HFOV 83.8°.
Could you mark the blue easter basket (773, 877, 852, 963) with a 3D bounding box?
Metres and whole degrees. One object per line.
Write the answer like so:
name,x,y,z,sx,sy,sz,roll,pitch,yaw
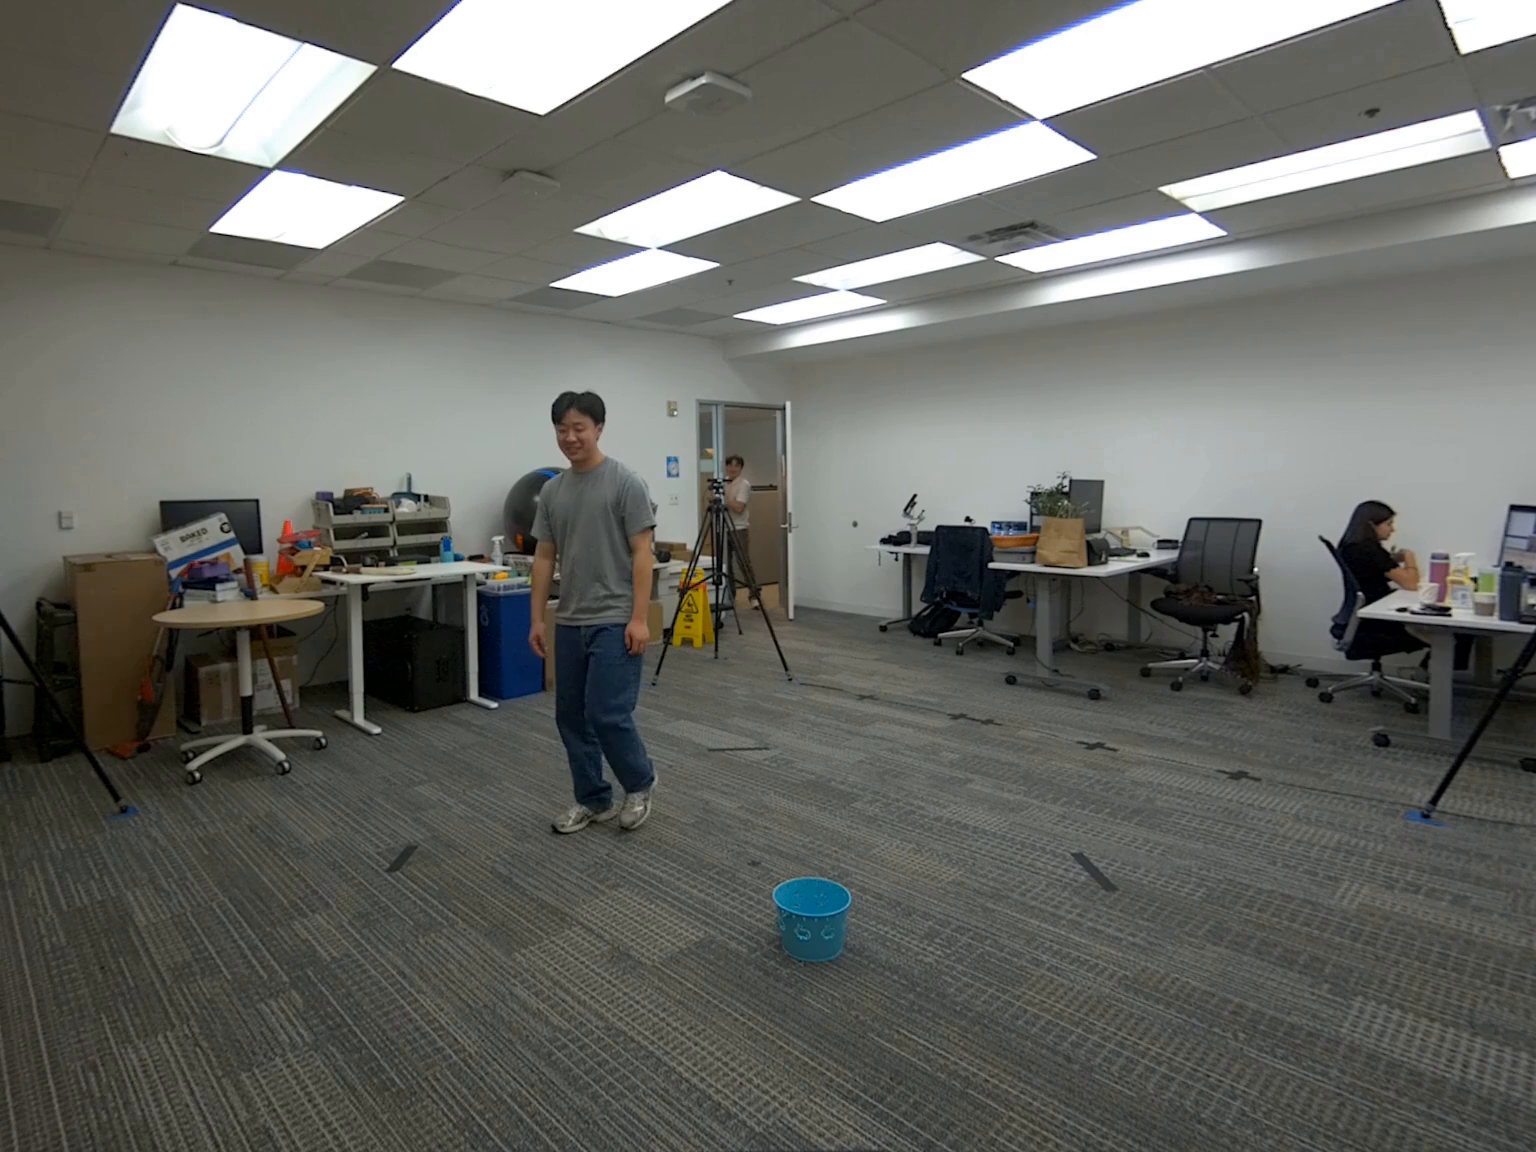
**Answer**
blue easter basket,0.138,1.027,2.558,0.243,0.155,0.245,-1,6,-2
